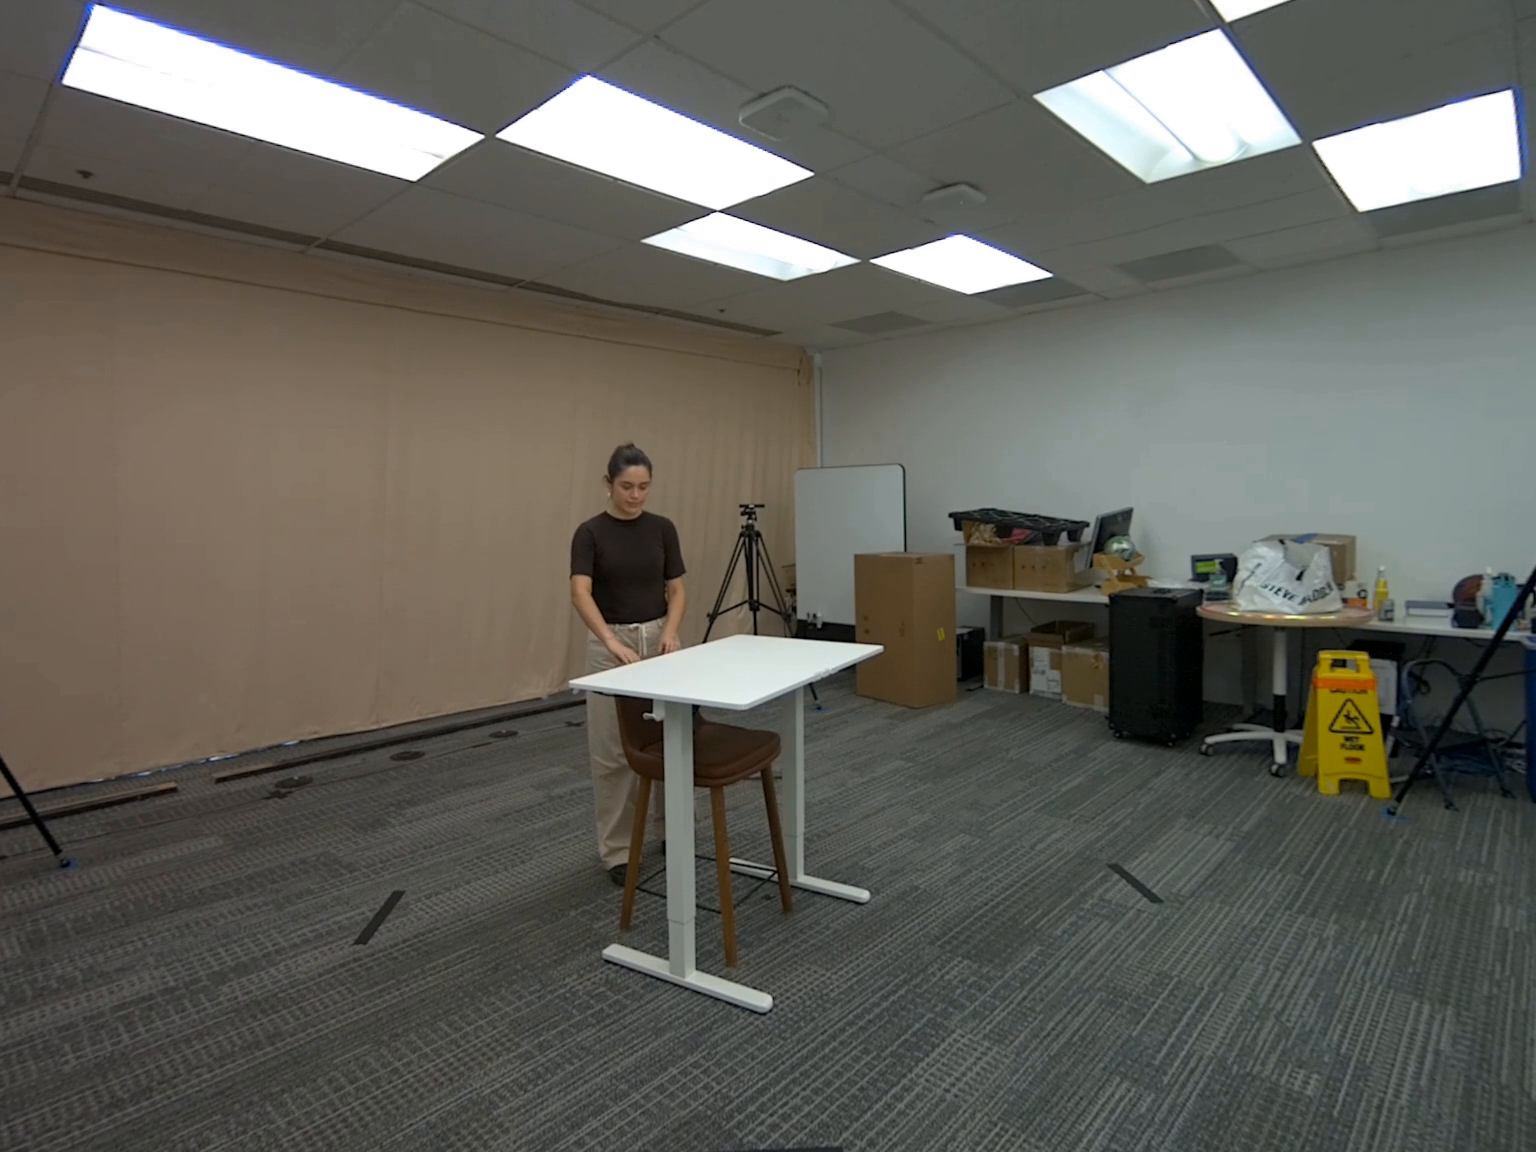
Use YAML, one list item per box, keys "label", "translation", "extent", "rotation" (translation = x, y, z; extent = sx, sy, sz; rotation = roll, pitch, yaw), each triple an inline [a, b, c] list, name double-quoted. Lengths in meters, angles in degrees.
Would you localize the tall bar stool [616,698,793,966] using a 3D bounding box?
- label: "tall bar stool"
  translation: [-0.220, 0.725, 2.802]
  extent: [0.481, 0.888, 0.444]
  rotation: [-1, 3, 31]
